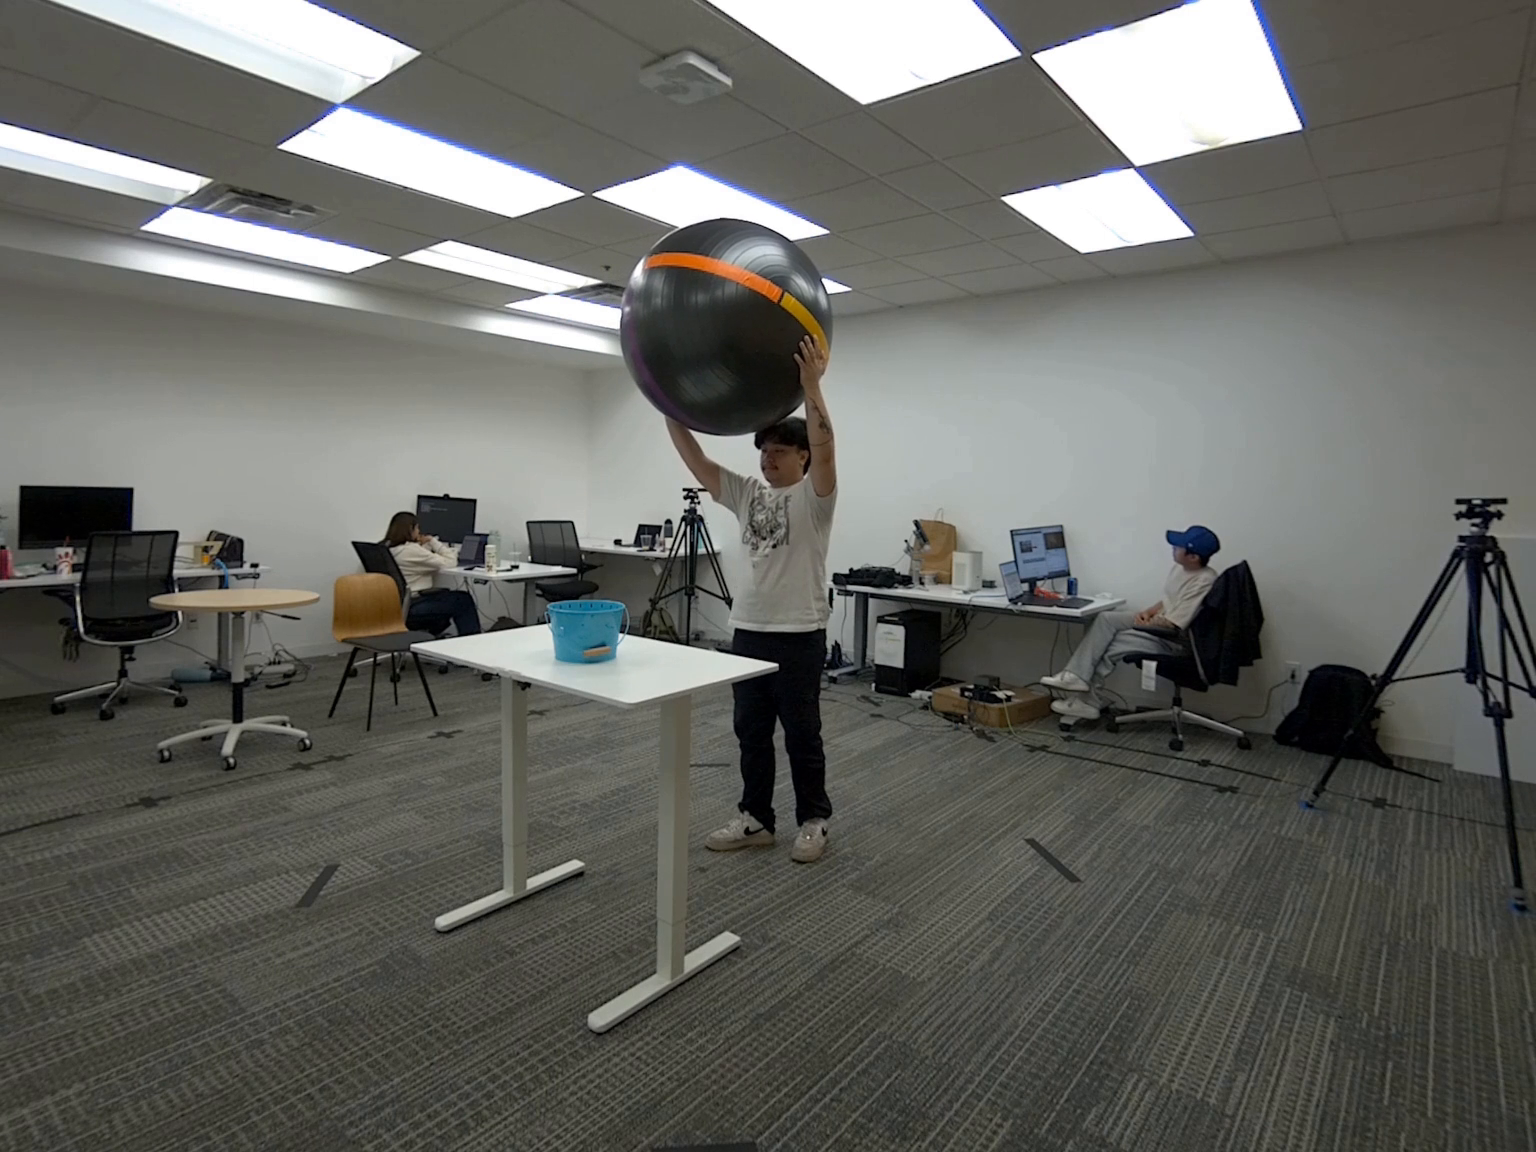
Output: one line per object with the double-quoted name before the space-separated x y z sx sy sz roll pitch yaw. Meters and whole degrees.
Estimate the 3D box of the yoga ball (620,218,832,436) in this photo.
"yoga ball" -0.162 -0.879 3.038 0.757 0.755 0.762 1 4 -2
